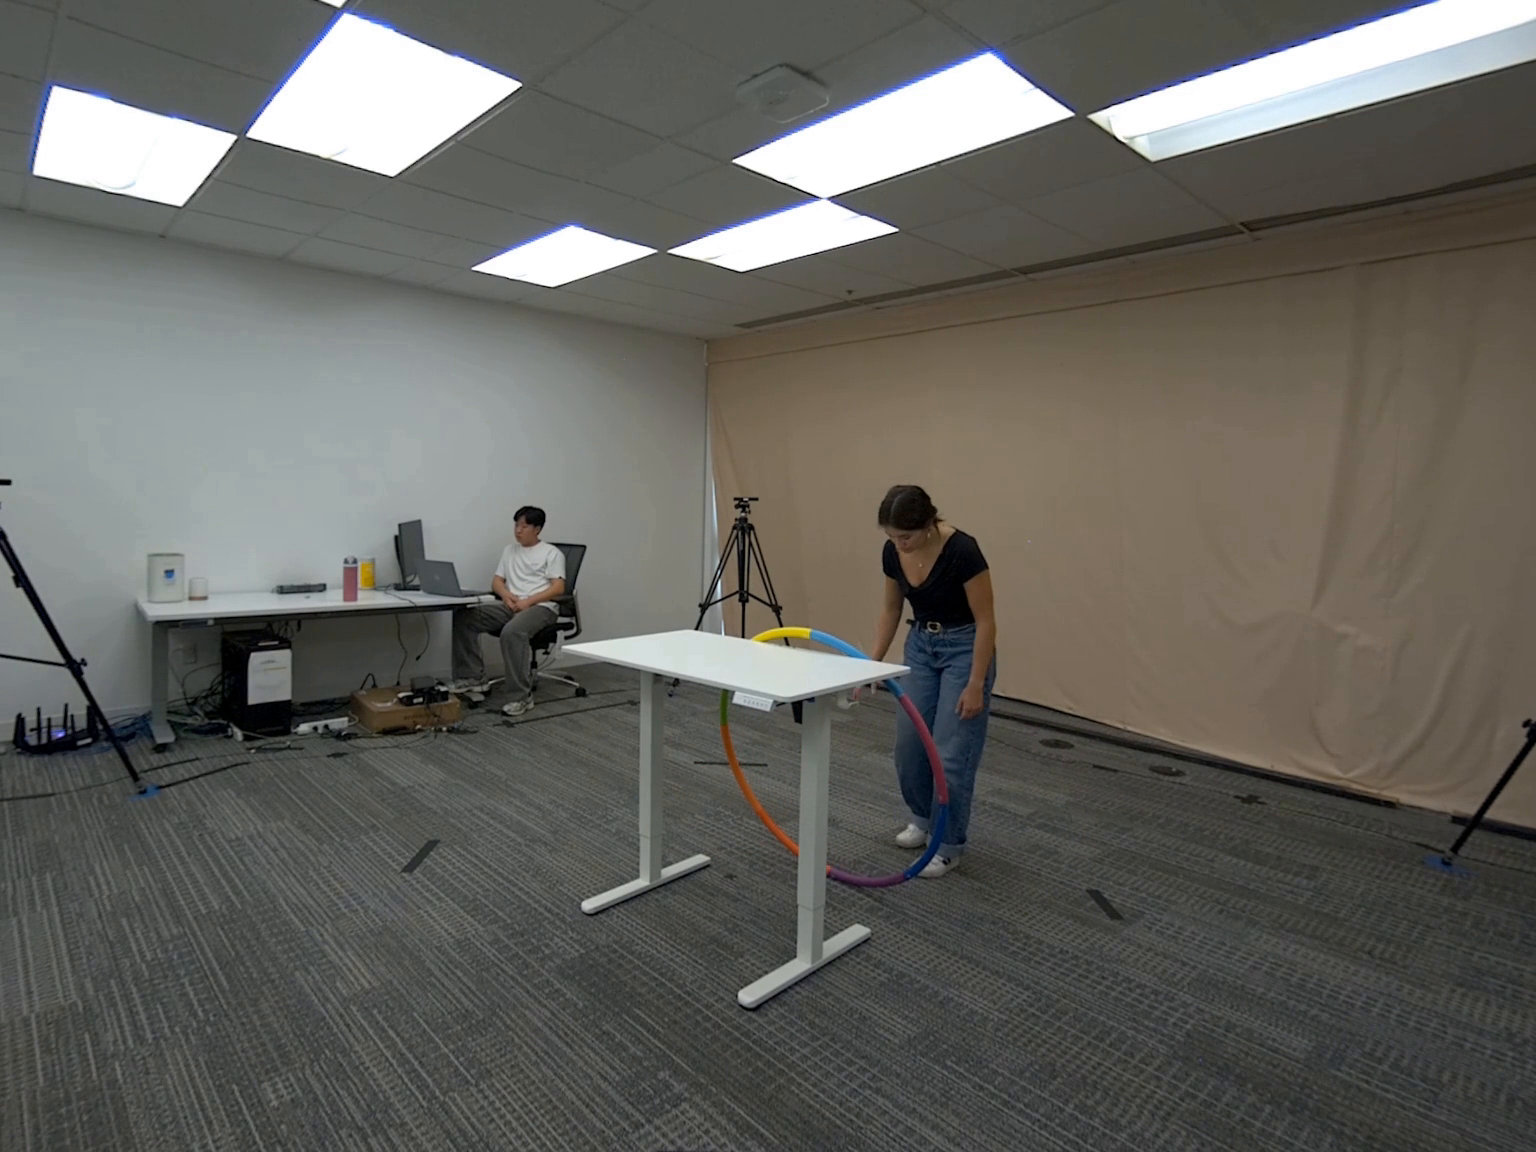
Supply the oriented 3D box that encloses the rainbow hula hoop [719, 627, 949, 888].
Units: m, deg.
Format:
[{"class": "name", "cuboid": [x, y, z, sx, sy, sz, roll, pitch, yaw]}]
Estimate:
[{"class": "rainbow hula hoop", "cuboid": [0.194, 0.651, 2.994, 1.004, 0.968, 0.035, 5, 18, 43]}]
